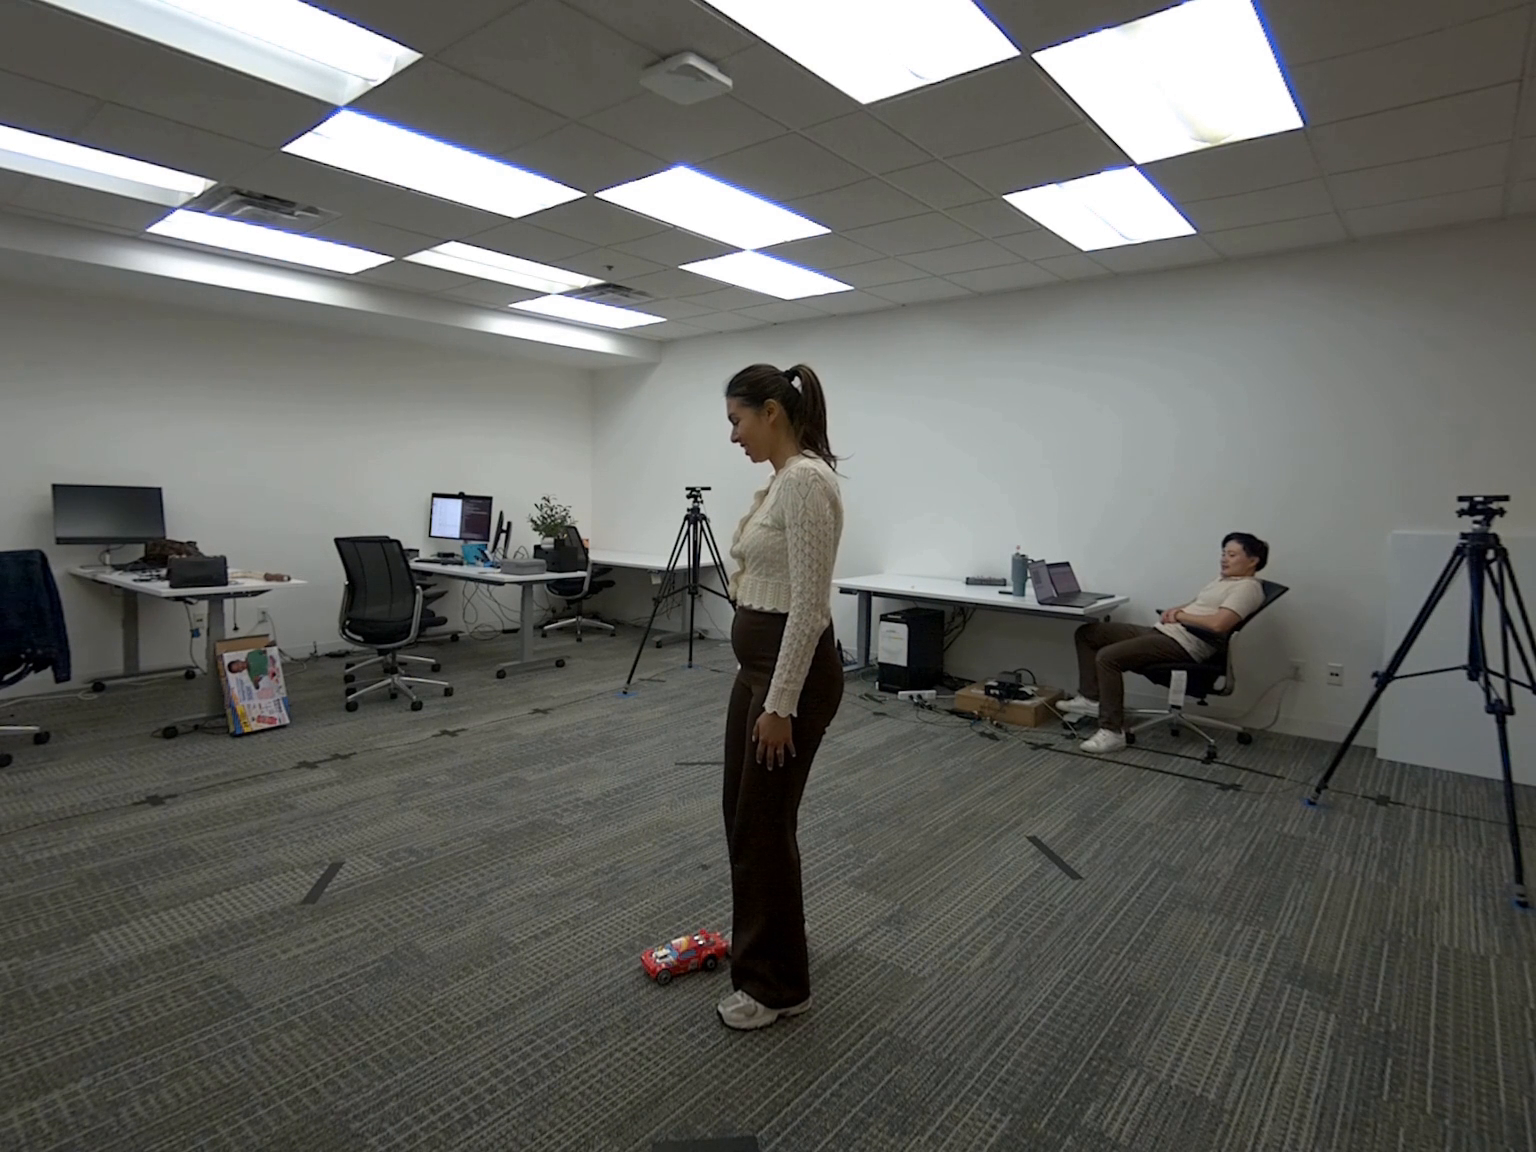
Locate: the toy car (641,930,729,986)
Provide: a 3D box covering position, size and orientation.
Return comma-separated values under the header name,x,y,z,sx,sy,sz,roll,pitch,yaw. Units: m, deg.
name,x,y,z,sx,sy,sz,roll,pitch,yaw
toy car,-0.246,1.100,2.464,0.249,0.082,0.134,-14,11,-27
